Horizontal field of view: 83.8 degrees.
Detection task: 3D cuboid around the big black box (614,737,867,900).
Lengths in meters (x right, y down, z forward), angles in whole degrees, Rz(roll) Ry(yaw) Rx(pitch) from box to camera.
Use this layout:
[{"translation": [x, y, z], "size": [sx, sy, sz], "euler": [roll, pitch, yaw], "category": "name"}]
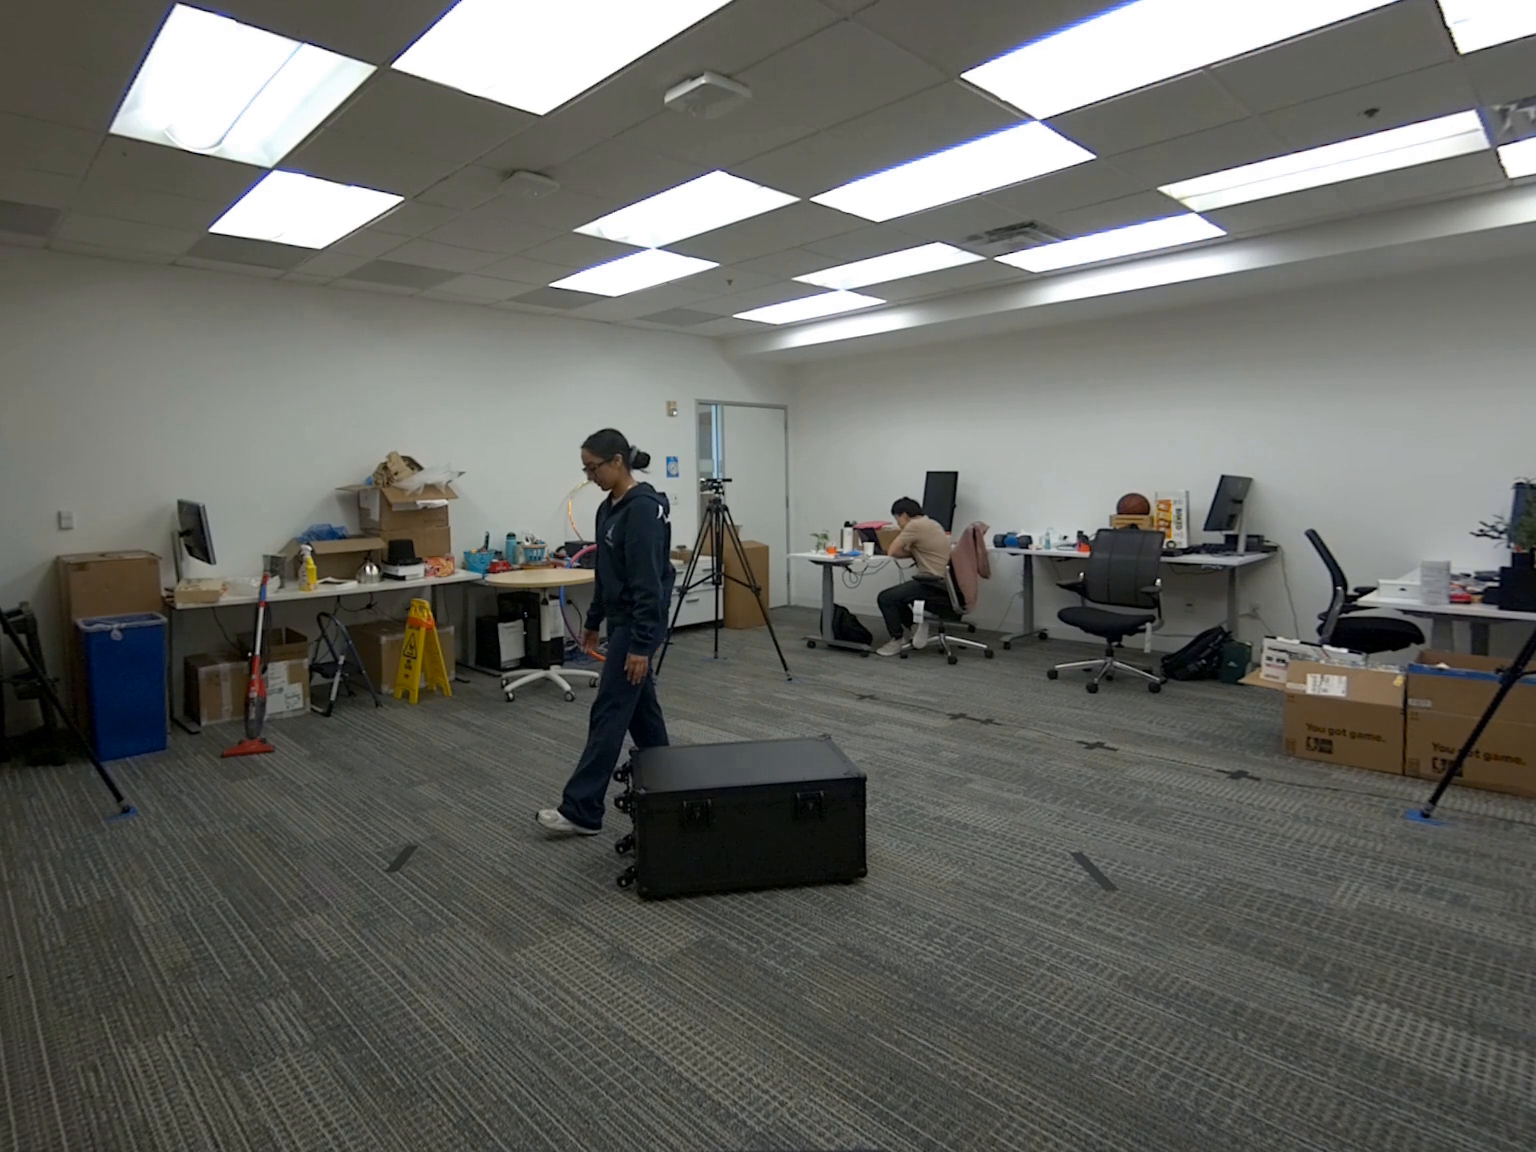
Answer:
[{"translation": [-0.121, 0.857, 3.092], "size": [0.854, 0.395, 0.528], "euler": [-2, 5, -9], "category": "big black box"}]
